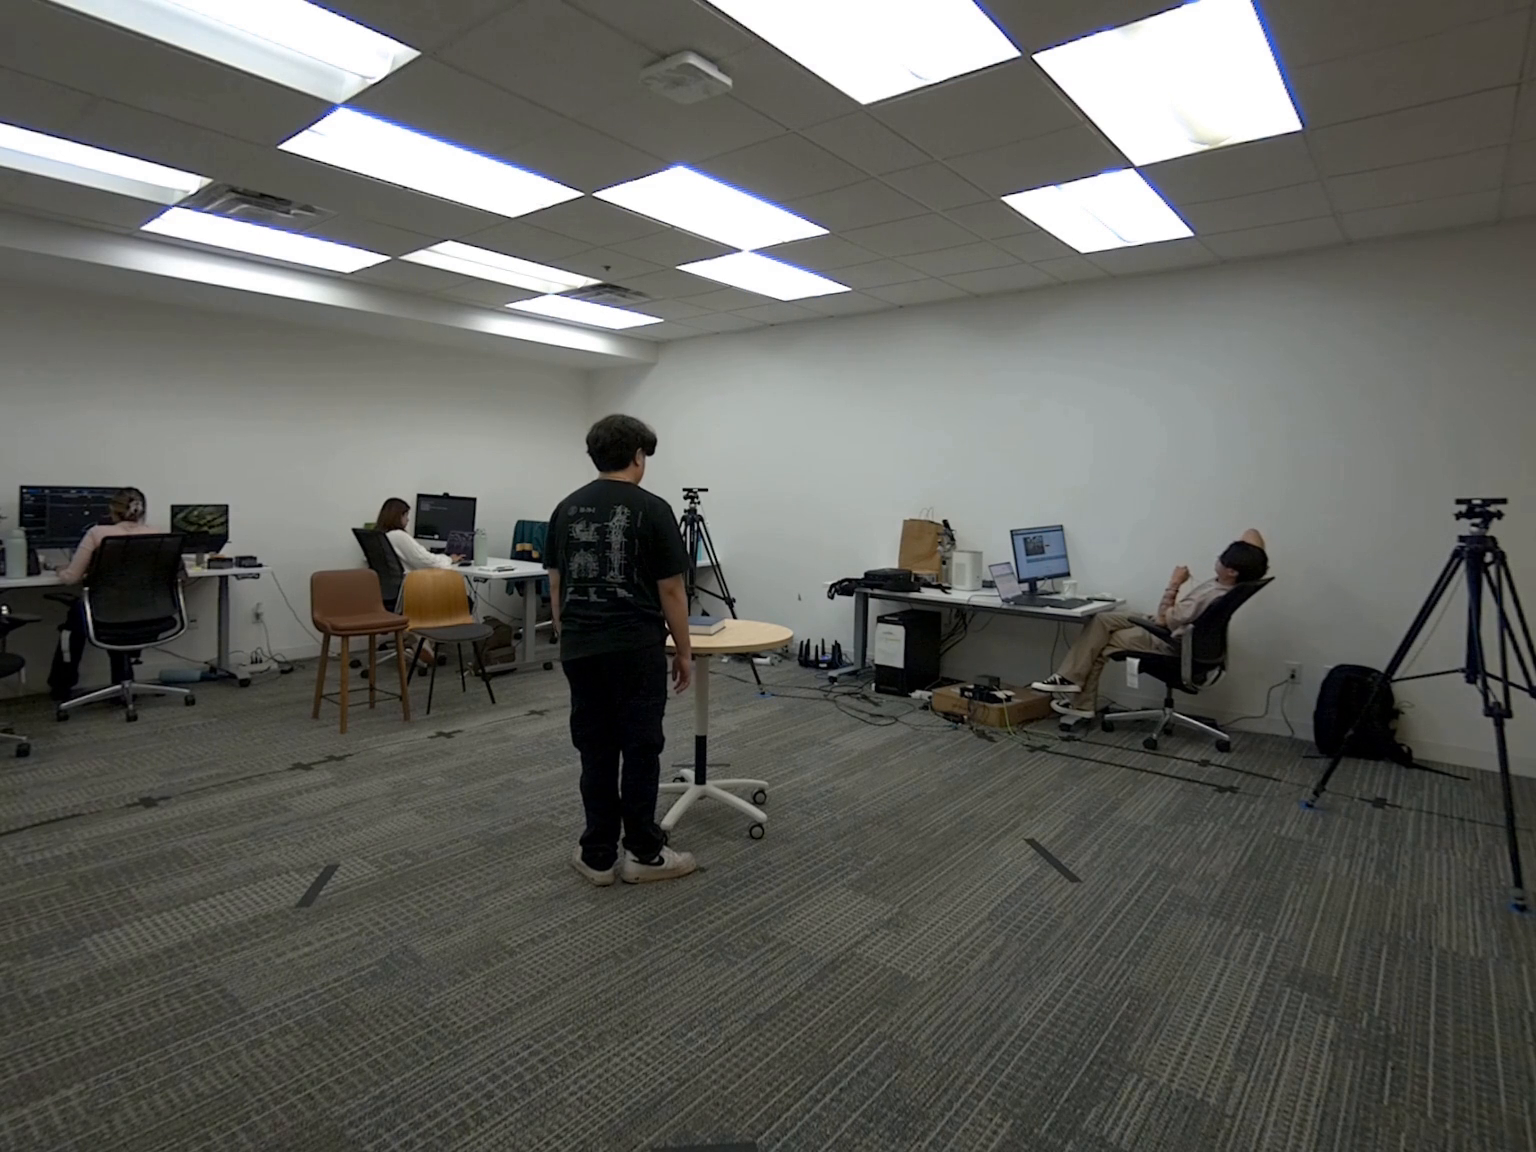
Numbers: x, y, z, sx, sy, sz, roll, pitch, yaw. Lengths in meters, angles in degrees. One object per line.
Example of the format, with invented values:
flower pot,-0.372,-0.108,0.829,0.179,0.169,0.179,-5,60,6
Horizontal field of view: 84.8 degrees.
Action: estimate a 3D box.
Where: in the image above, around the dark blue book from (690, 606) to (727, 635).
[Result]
dark blue book,-0.295,0.207,3.625,0.166,0.045,0.242,2,5,12
